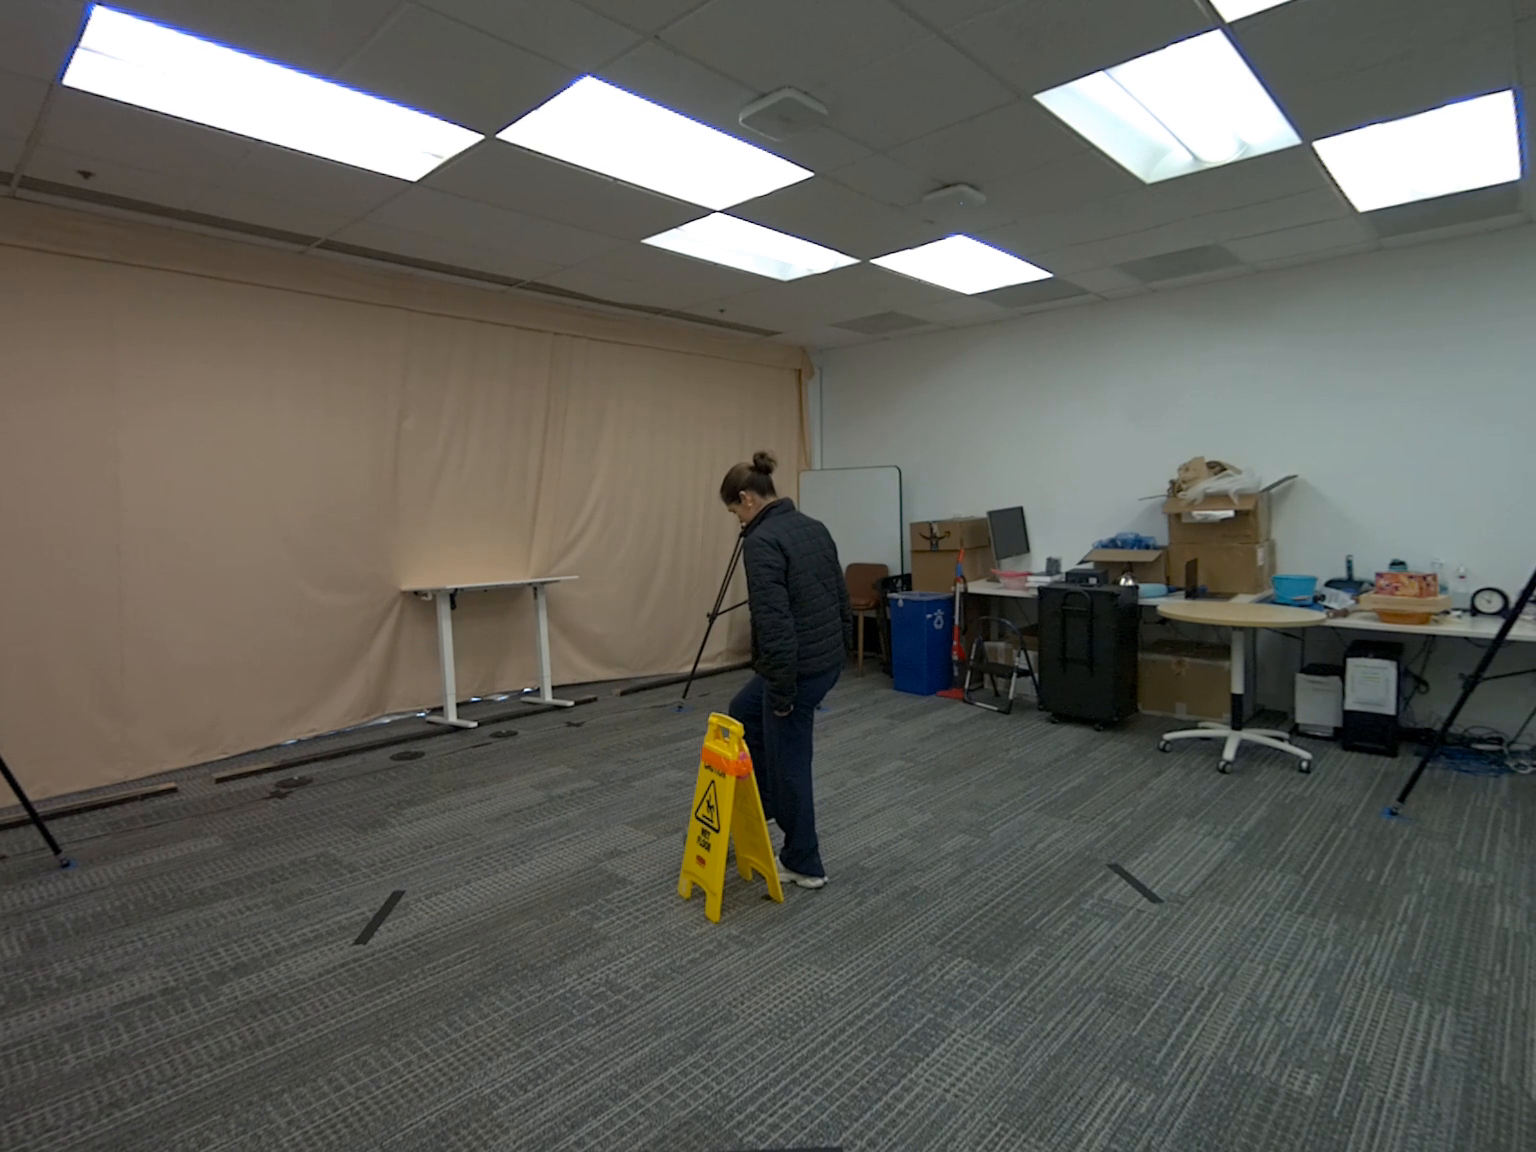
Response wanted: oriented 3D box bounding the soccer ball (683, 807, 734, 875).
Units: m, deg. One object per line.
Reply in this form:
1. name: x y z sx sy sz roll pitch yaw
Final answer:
1. soccer ball: -0.233 1.031 3.312 0.187 0.187 0.188 -1 4 -2
